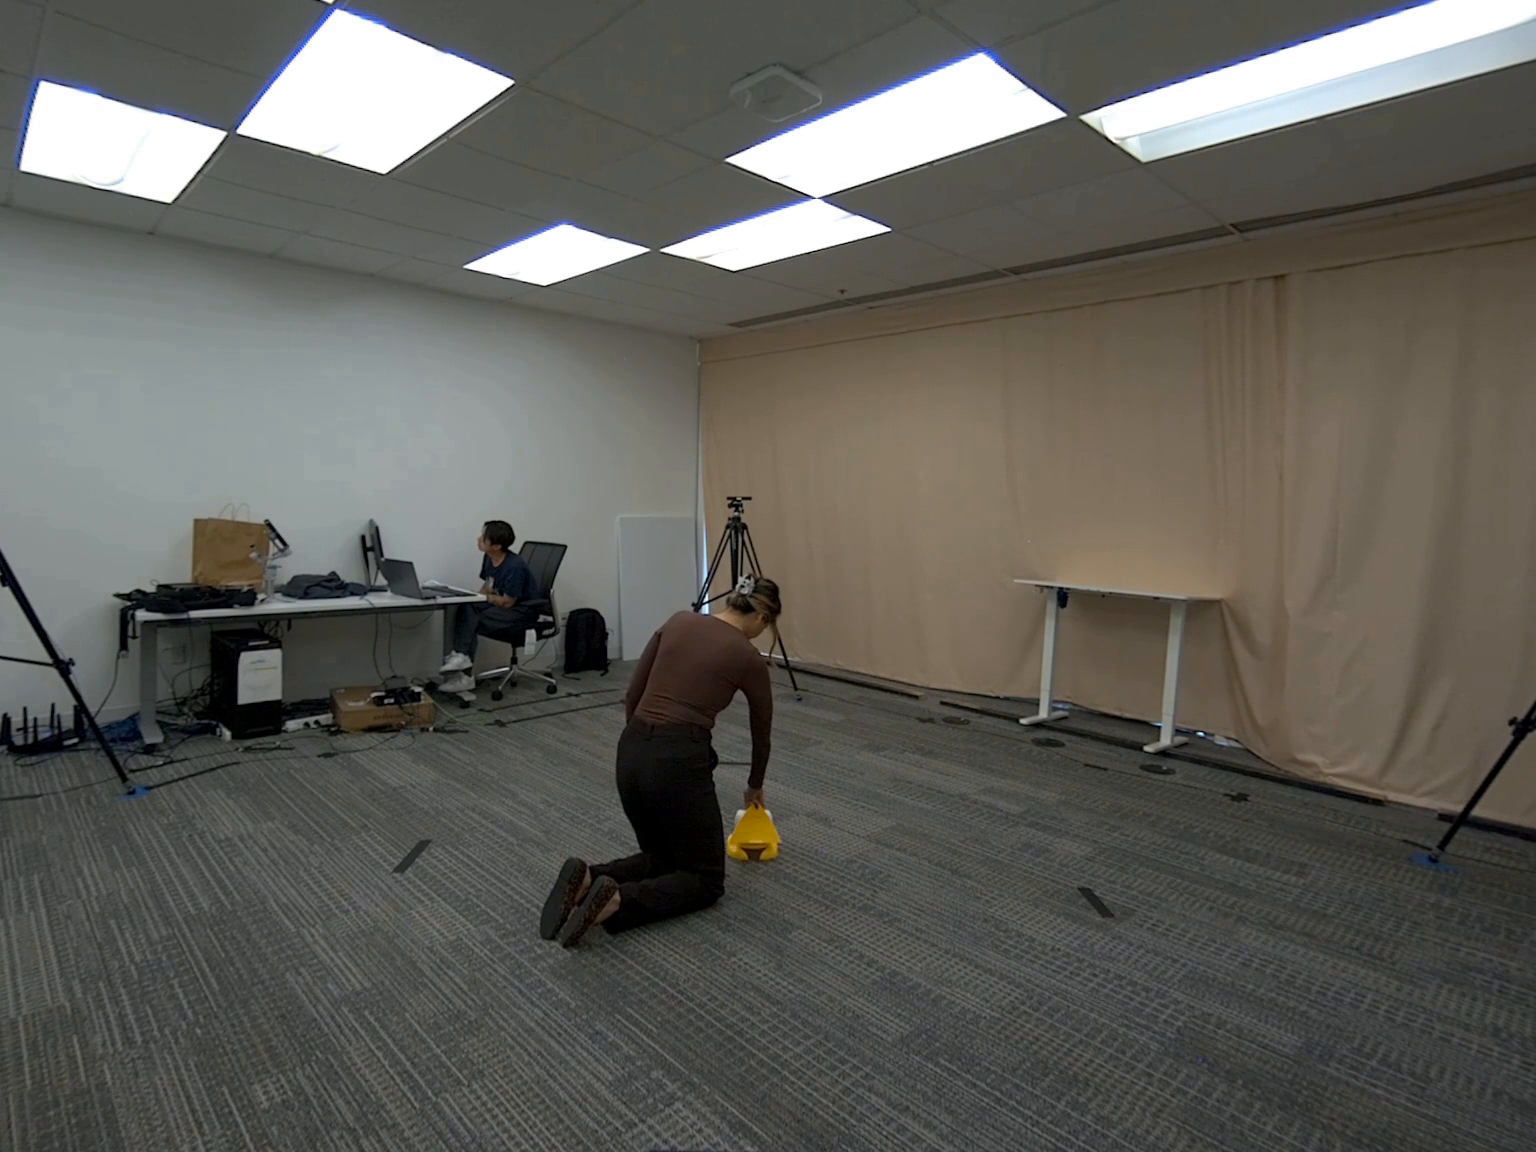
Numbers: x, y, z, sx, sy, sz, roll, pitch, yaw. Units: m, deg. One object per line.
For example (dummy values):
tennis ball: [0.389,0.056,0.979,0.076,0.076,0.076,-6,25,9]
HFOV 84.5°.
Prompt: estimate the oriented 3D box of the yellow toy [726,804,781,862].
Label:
yellow toy: [-0.066,0.973,3.307,0.204,0.229,0.195,1,8,-6]
